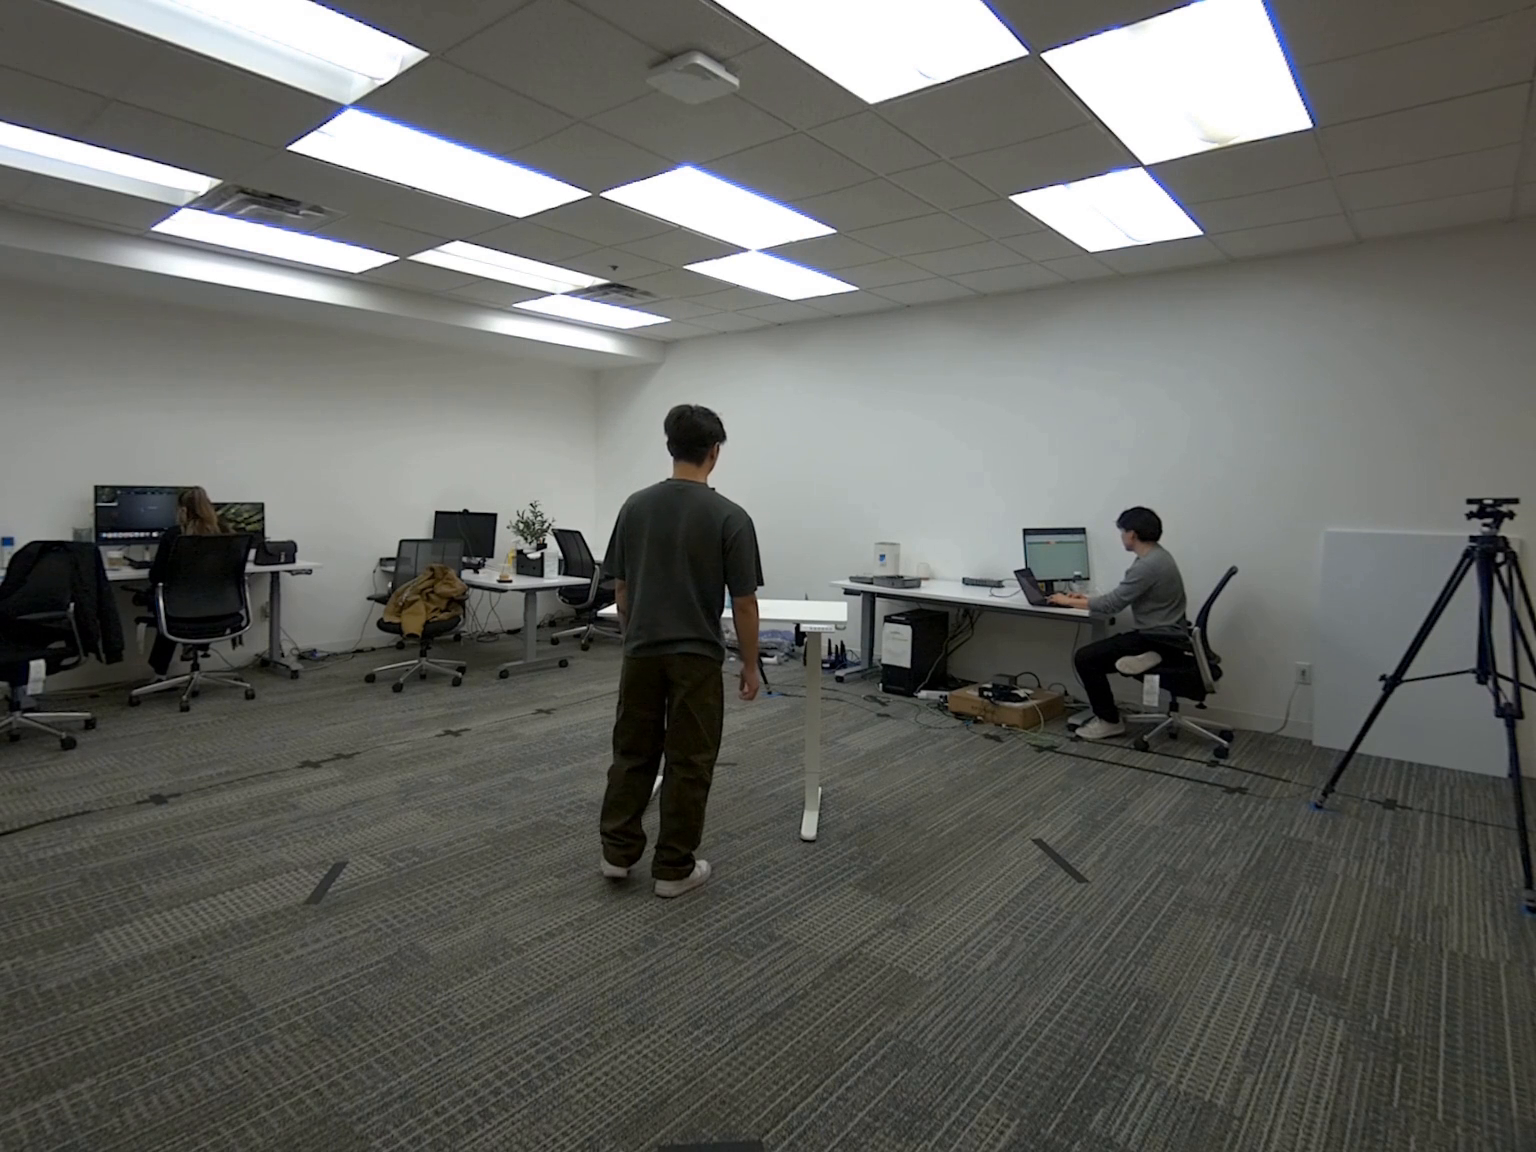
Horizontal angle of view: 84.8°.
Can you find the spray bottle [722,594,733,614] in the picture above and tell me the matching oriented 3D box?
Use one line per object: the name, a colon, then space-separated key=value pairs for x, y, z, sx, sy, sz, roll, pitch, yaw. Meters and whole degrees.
spray bottle: x=-0.154 y=-0.014 z=3.639 sx=0.089 sy=0.297 sz=0.088 roll=-2 pitch=2 yaw=21
